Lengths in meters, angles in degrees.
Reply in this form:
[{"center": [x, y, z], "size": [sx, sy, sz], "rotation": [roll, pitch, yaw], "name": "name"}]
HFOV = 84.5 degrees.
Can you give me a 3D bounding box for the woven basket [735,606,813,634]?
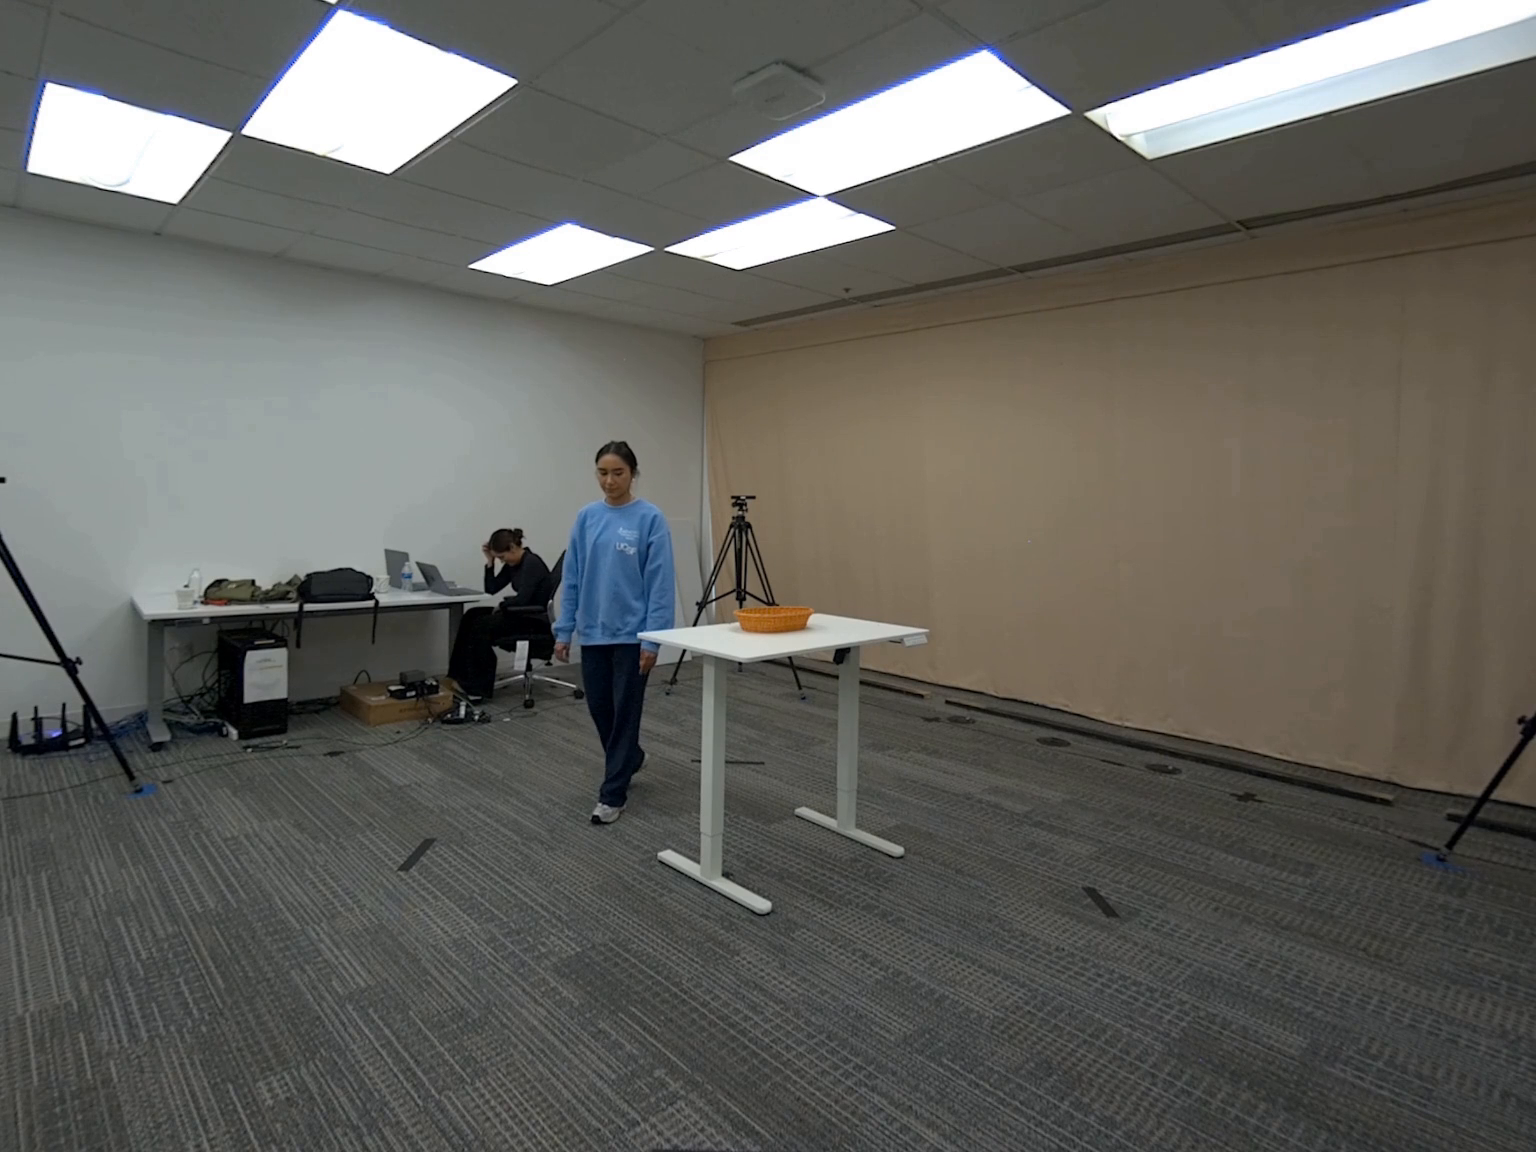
[{"center": [0.013, 0.177, 3.310], "size": [0.342, 0.073, 0.259], "rotation": [-3, 6, -41], "name": "woven basket"}]
